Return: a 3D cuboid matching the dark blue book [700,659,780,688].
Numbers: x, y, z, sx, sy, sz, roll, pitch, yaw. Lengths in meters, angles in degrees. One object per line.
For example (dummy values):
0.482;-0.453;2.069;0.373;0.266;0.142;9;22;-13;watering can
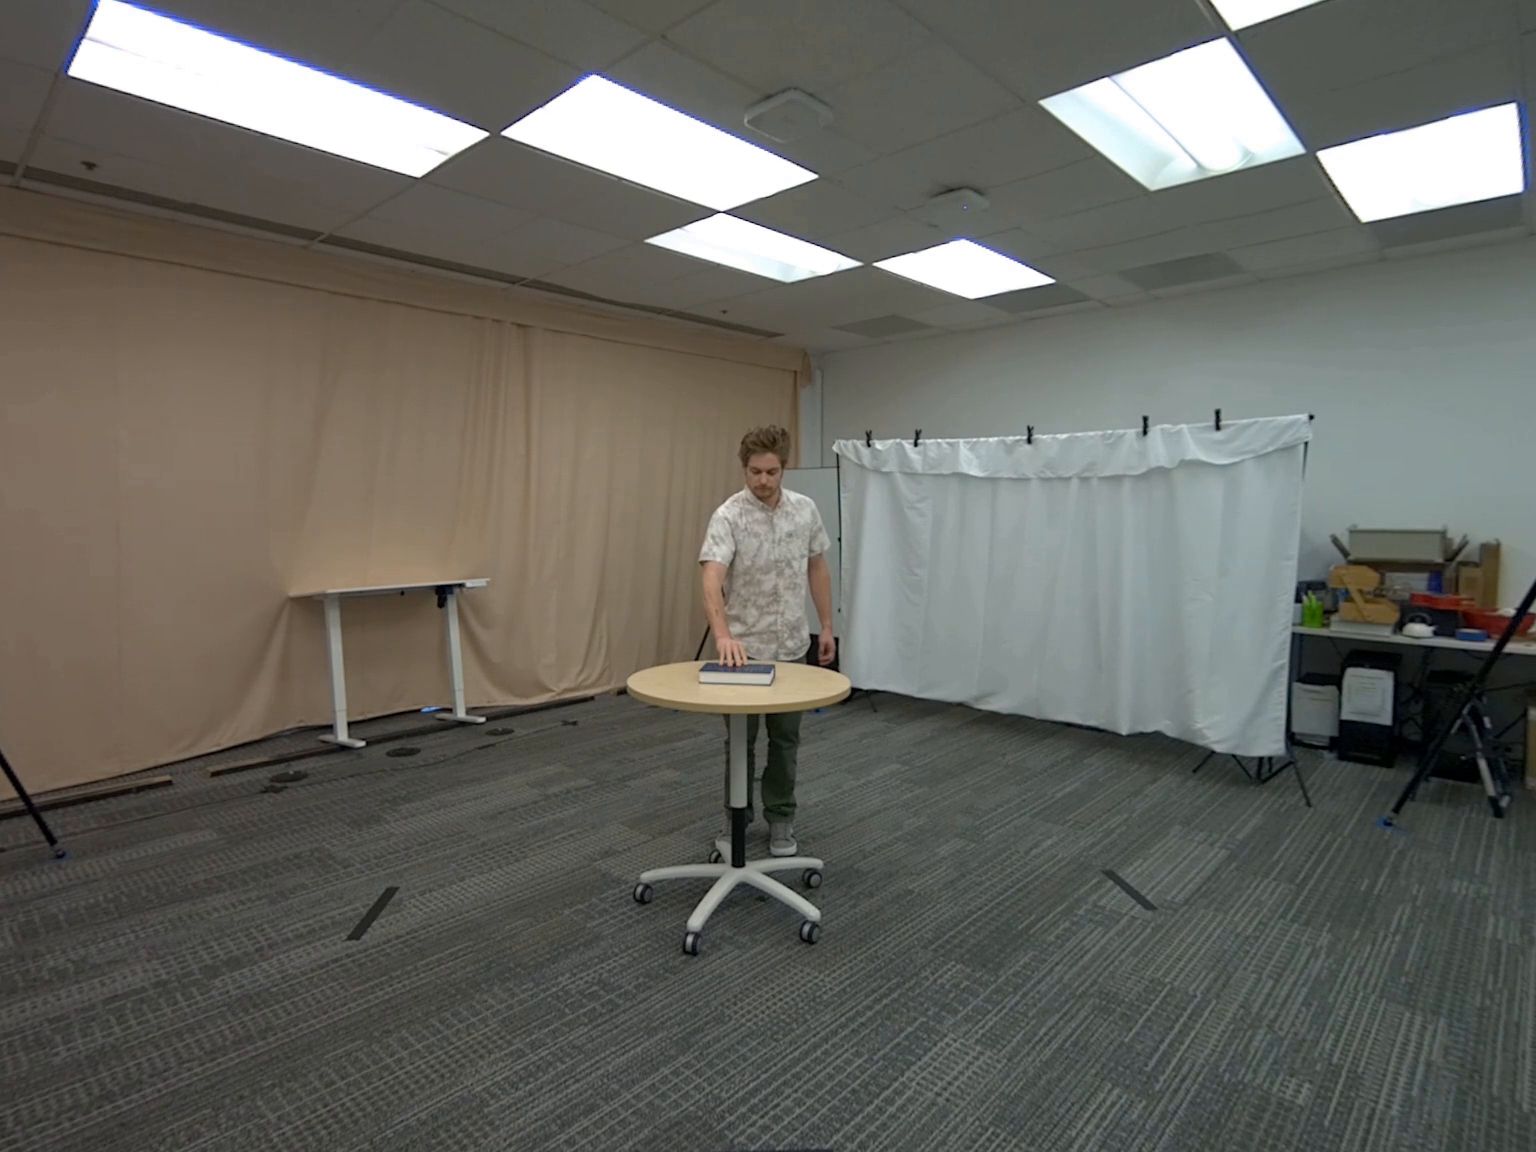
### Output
-0.095;0.331;2.896;0.248;0.045;0.162;2;6;10;dark blue book
